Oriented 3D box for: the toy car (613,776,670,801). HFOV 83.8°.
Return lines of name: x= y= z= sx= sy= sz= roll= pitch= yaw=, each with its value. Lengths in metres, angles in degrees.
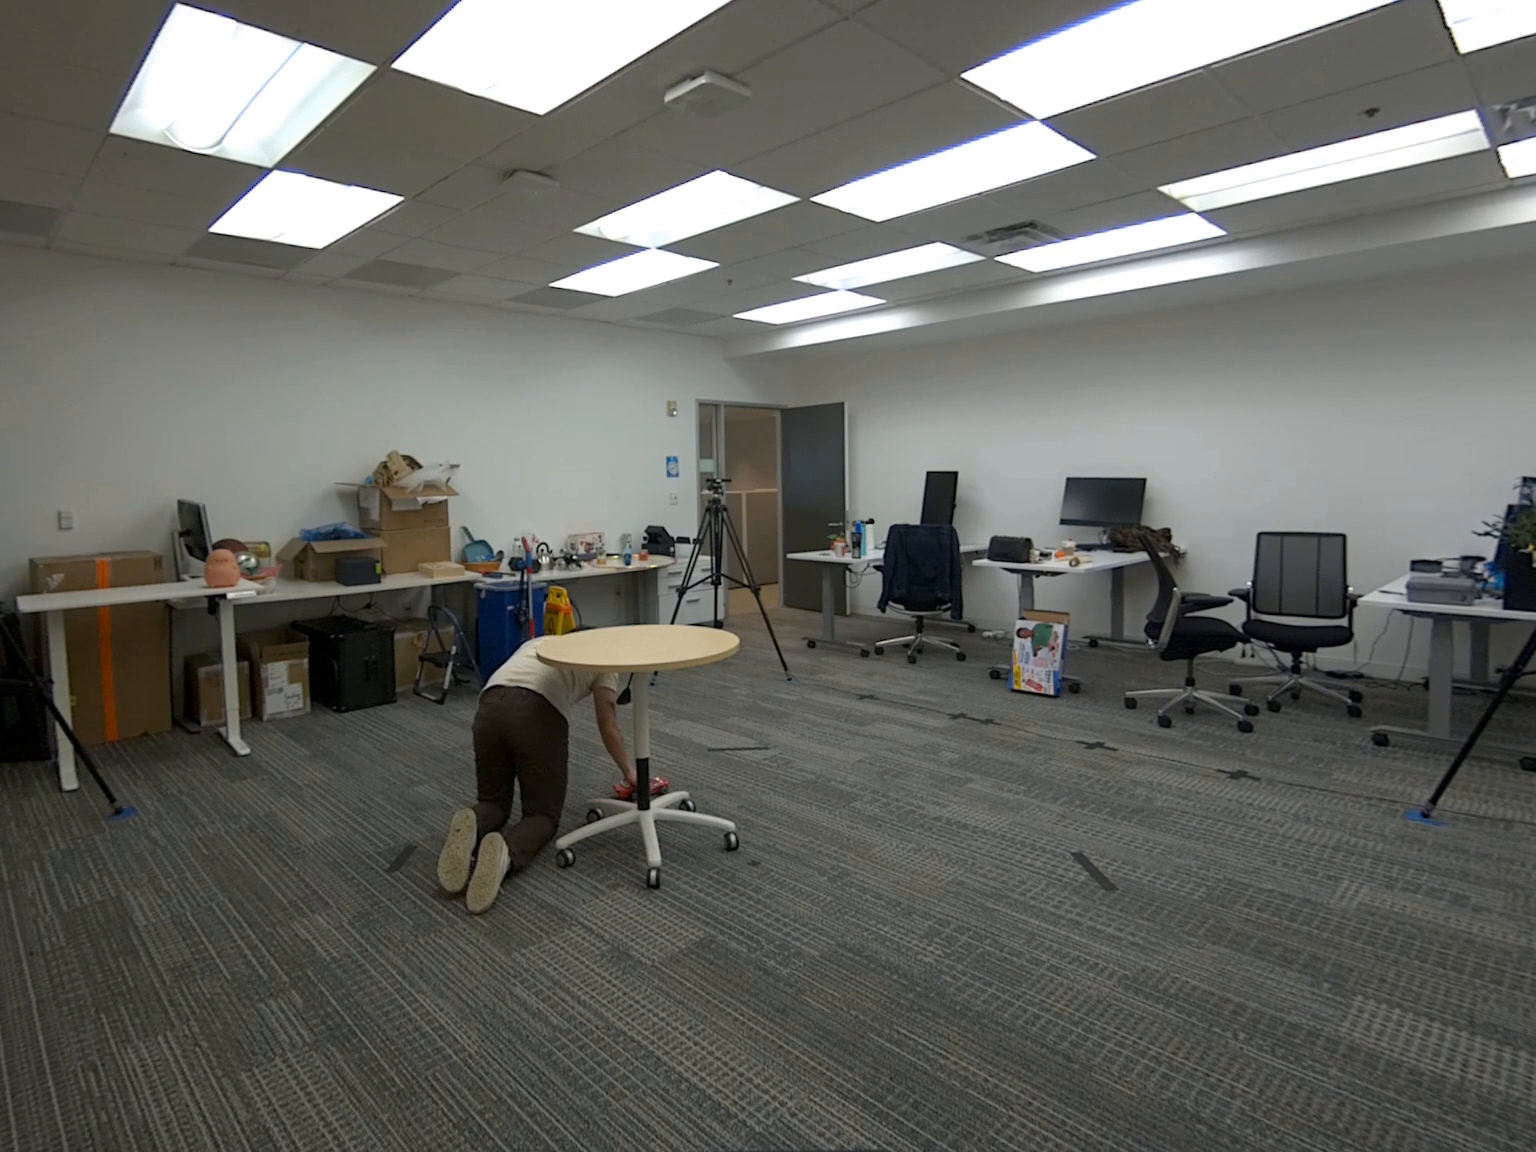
toy car: x=-0.586 y=0.947 z=3.811 sx=0.247 sy=0.083 sz=0.134 roll=8 pitch=0 yaw=-29
